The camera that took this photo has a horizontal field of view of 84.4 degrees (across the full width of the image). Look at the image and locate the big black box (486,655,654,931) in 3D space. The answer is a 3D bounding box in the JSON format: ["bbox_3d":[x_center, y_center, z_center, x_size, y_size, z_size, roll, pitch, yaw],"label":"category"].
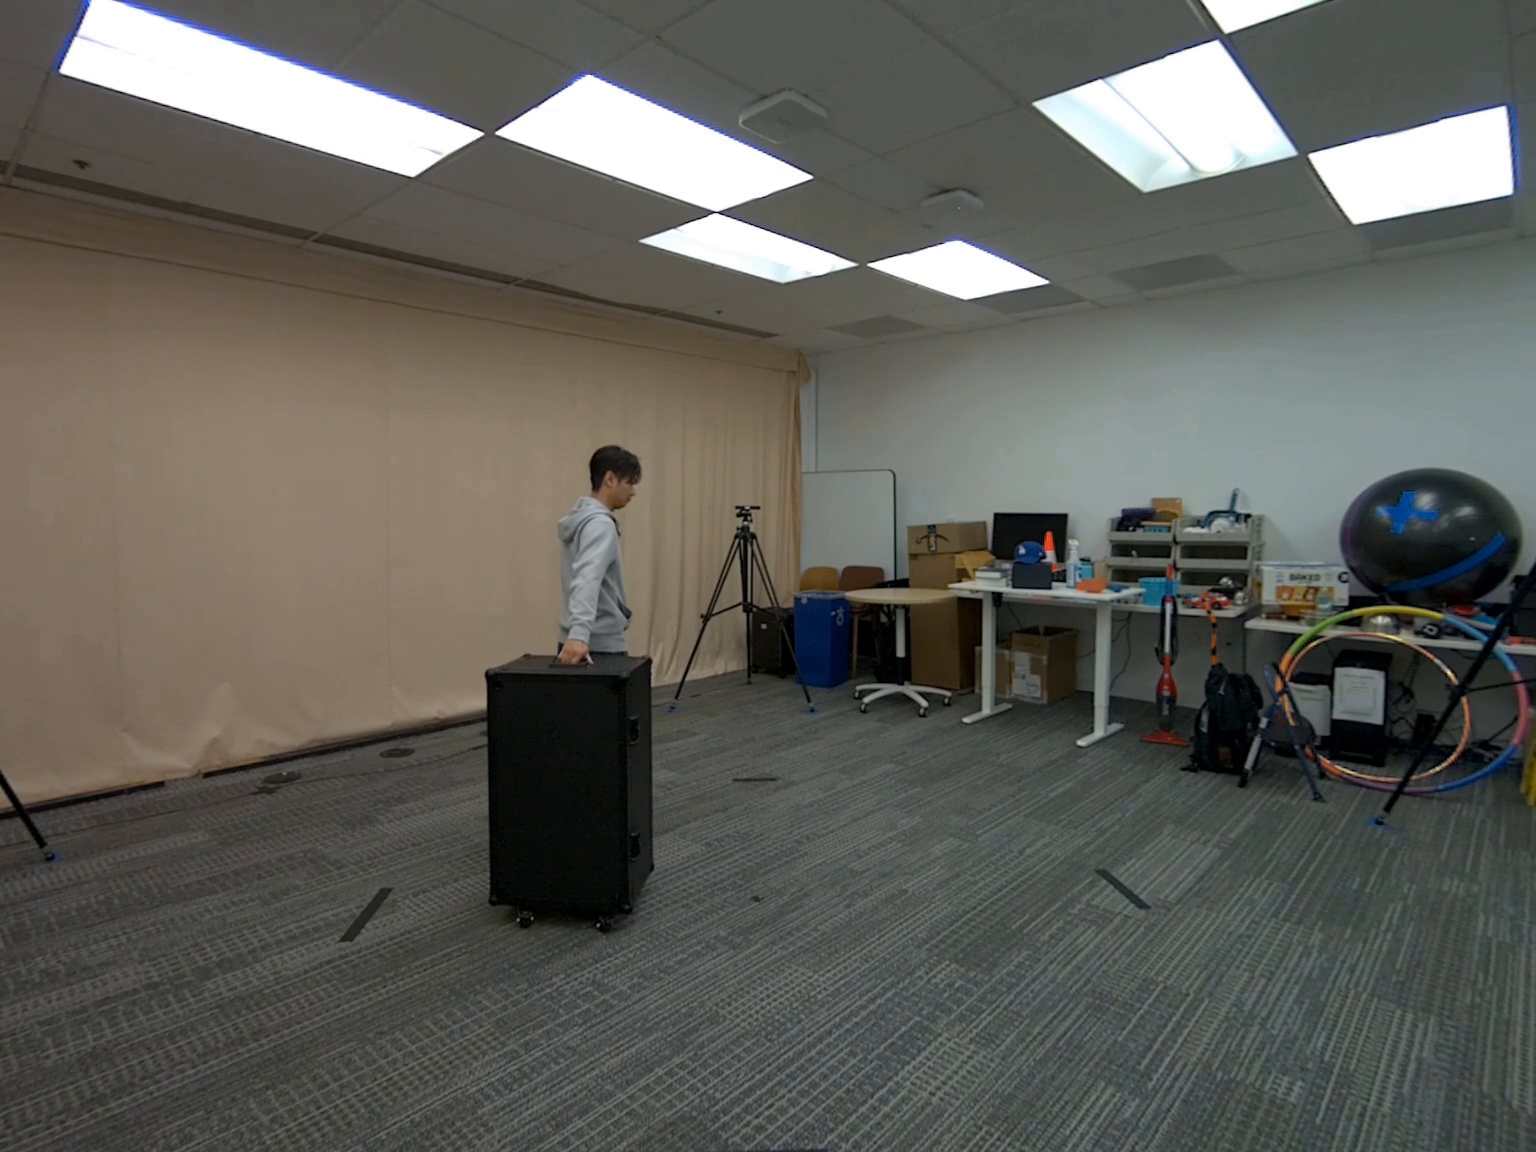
[{"bbox_3d":[-0.673,0.729,2.934,0.527,0.861,0.393,0,1,8],"label":"big black box"}]
